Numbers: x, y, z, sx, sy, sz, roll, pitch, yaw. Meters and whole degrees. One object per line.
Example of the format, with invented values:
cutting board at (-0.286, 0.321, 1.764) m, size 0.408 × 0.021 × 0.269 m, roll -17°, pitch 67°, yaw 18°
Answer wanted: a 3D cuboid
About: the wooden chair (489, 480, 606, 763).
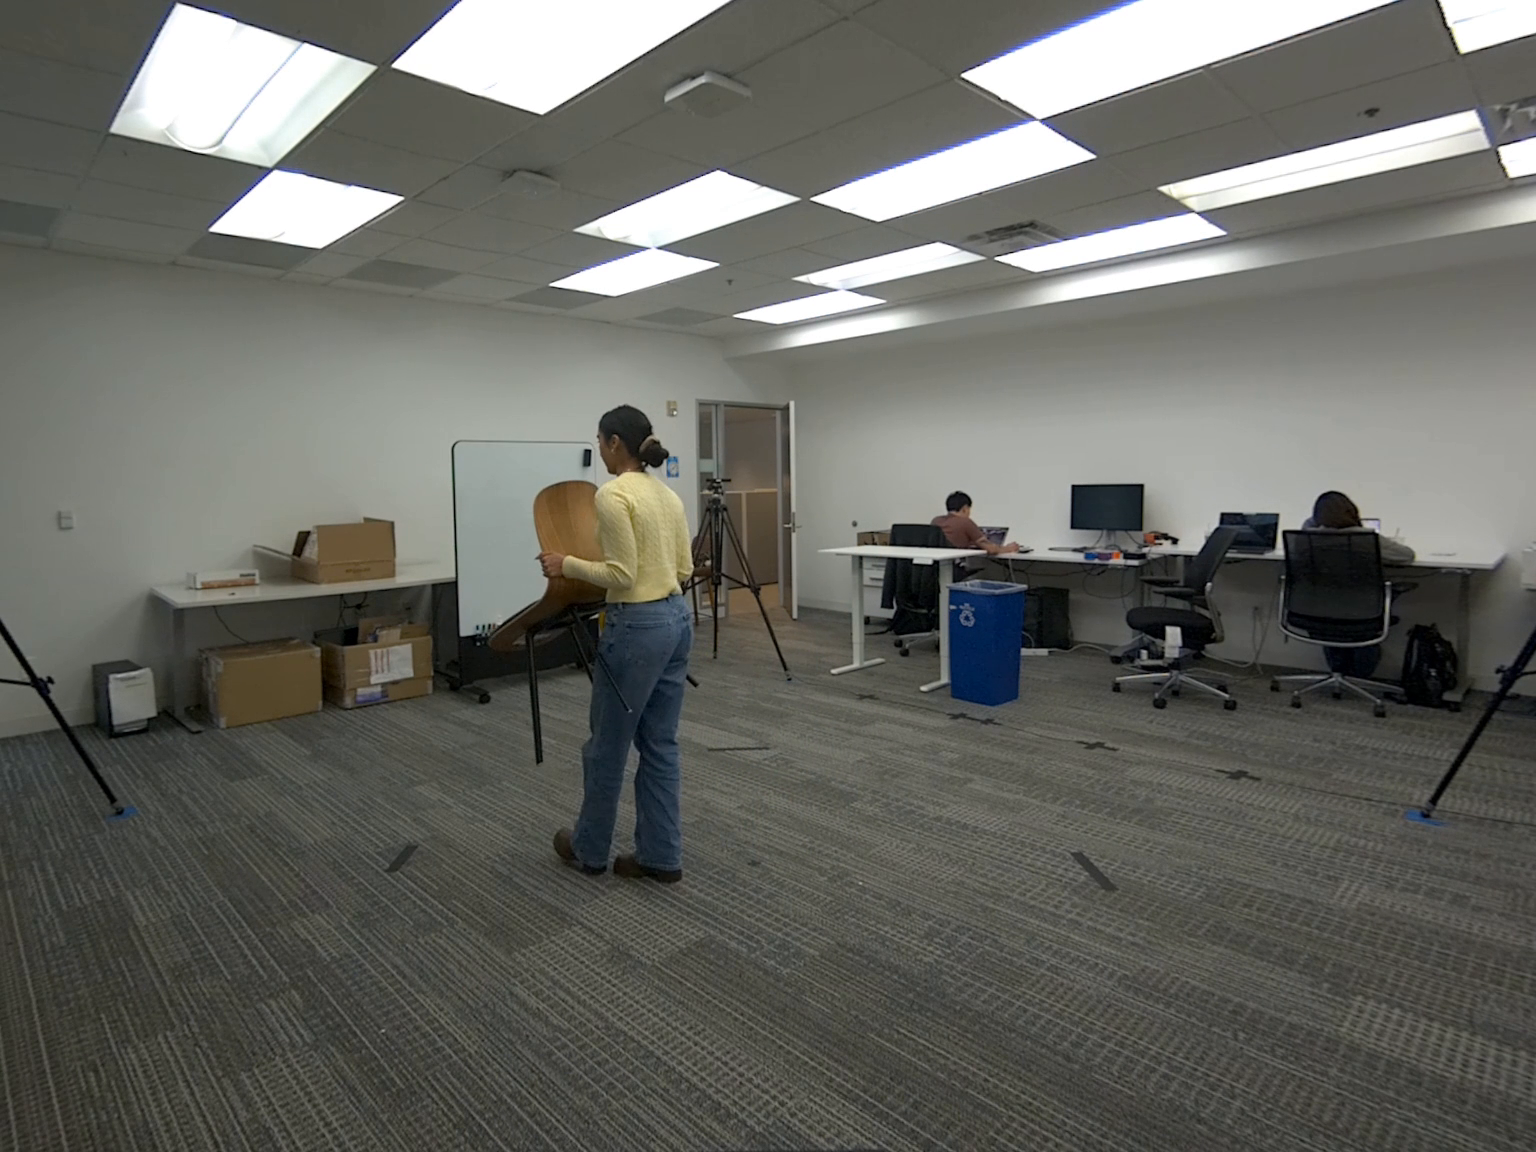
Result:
wooden chair at (-0.722, 0.158, 3.132) m, size 0.528 × 0.888 × 0.467 m, roll -28°, pitch -10°, yaw 27°
